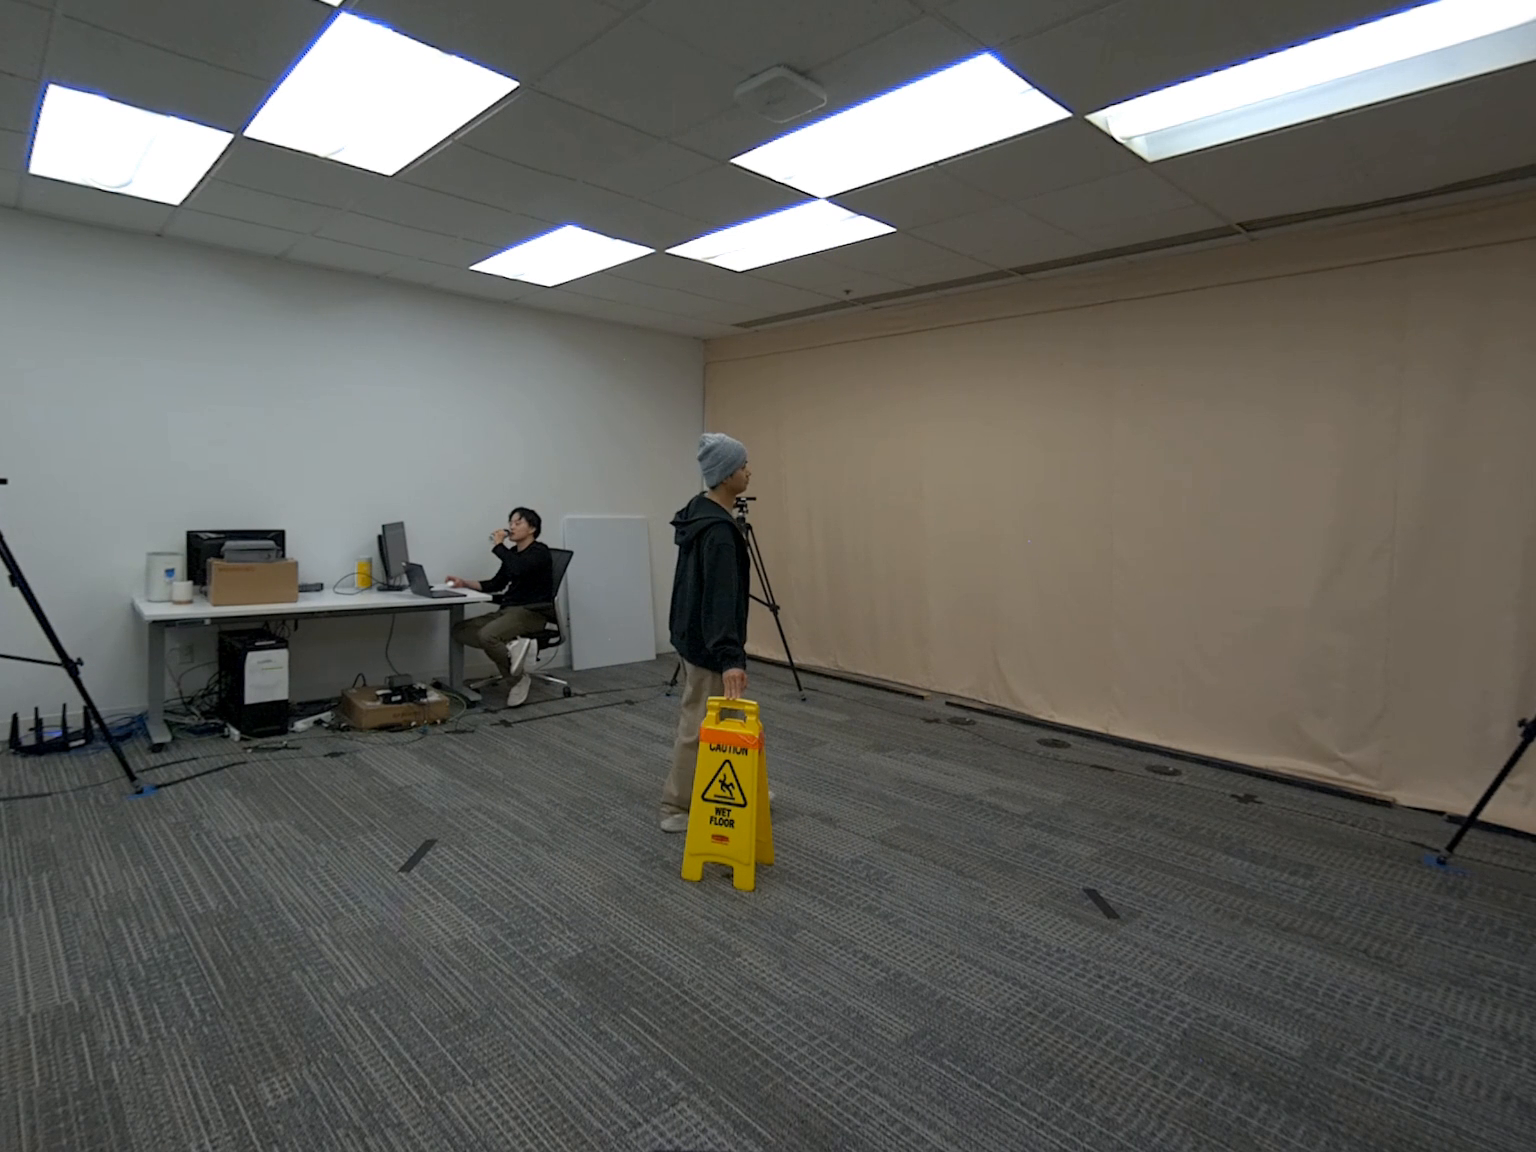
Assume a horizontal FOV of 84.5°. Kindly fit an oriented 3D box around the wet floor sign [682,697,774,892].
[{"bbox_3d":[-0.144,0.779,3.140,0.286,0.645,0.286,3,2,18],"label":"wet floor sign"}]
